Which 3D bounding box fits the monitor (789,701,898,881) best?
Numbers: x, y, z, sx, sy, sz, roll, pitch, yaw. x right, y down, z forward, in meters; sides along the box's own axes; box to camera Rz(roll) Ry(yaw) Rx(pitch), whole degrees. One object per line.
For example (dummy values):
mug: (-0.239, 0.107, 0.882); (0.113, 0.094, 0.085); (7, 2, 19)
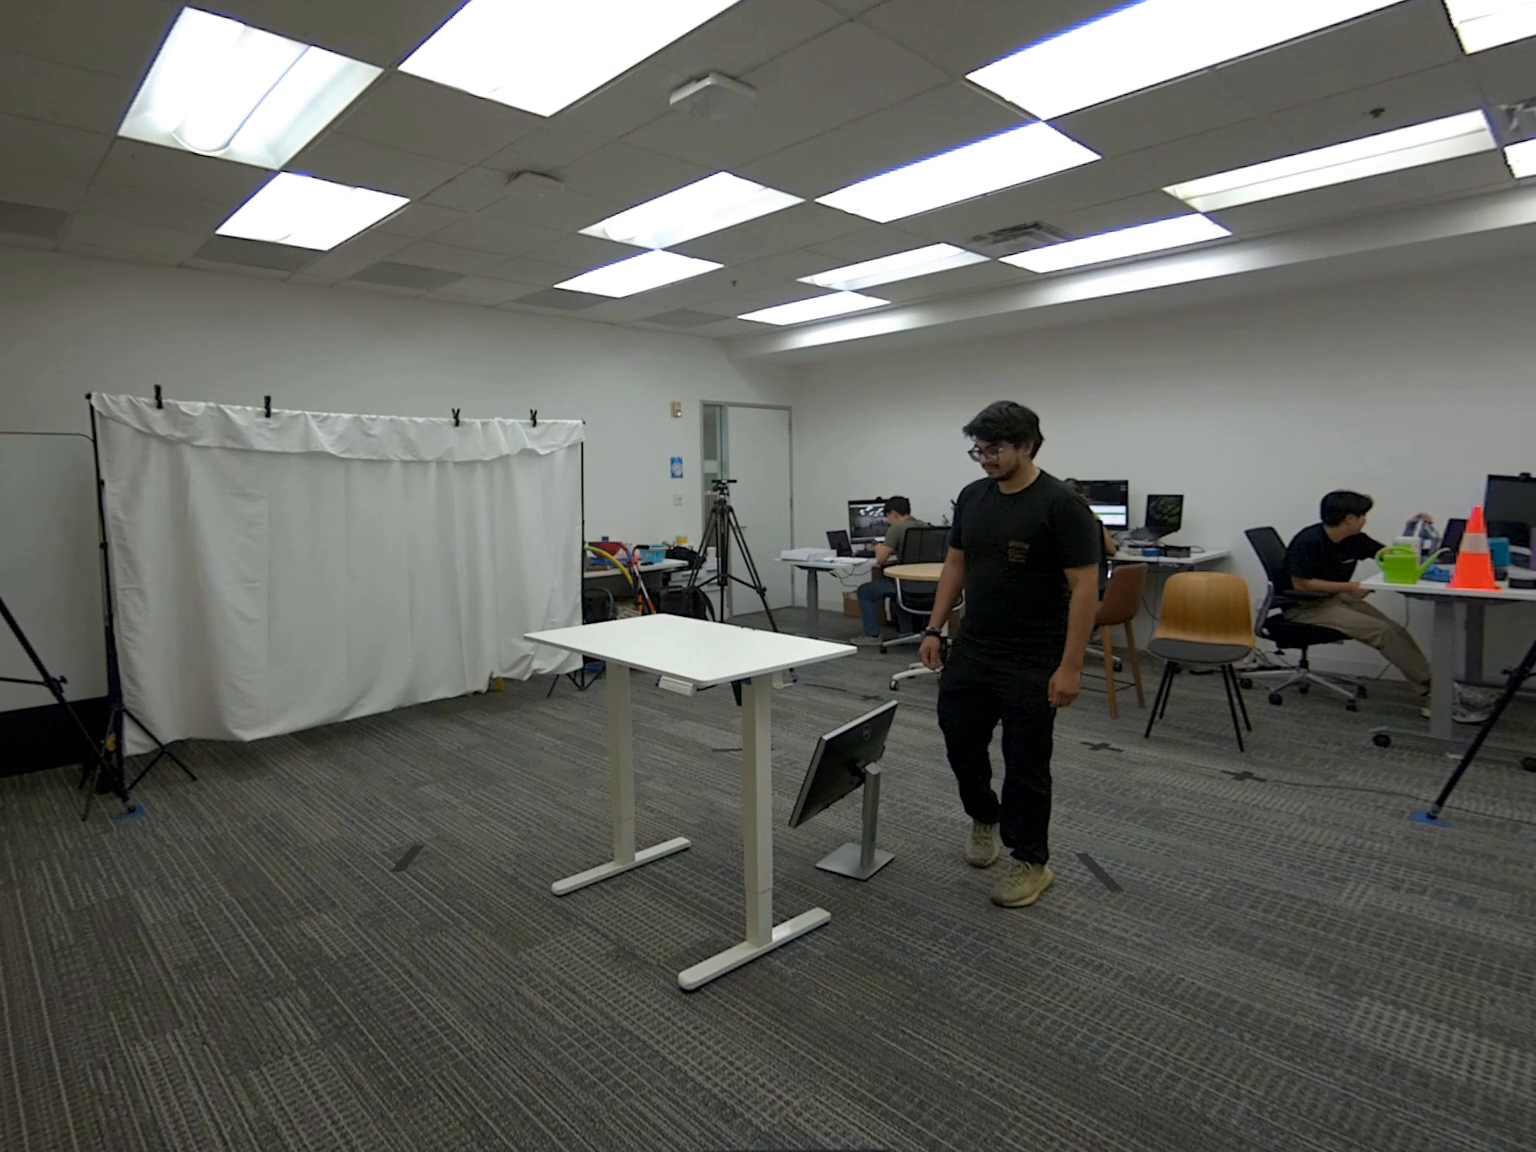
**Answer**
monitor: (0.341, 0.778, 3.072); (0.217, 0.549, 0.552); (15, 13, 32)
